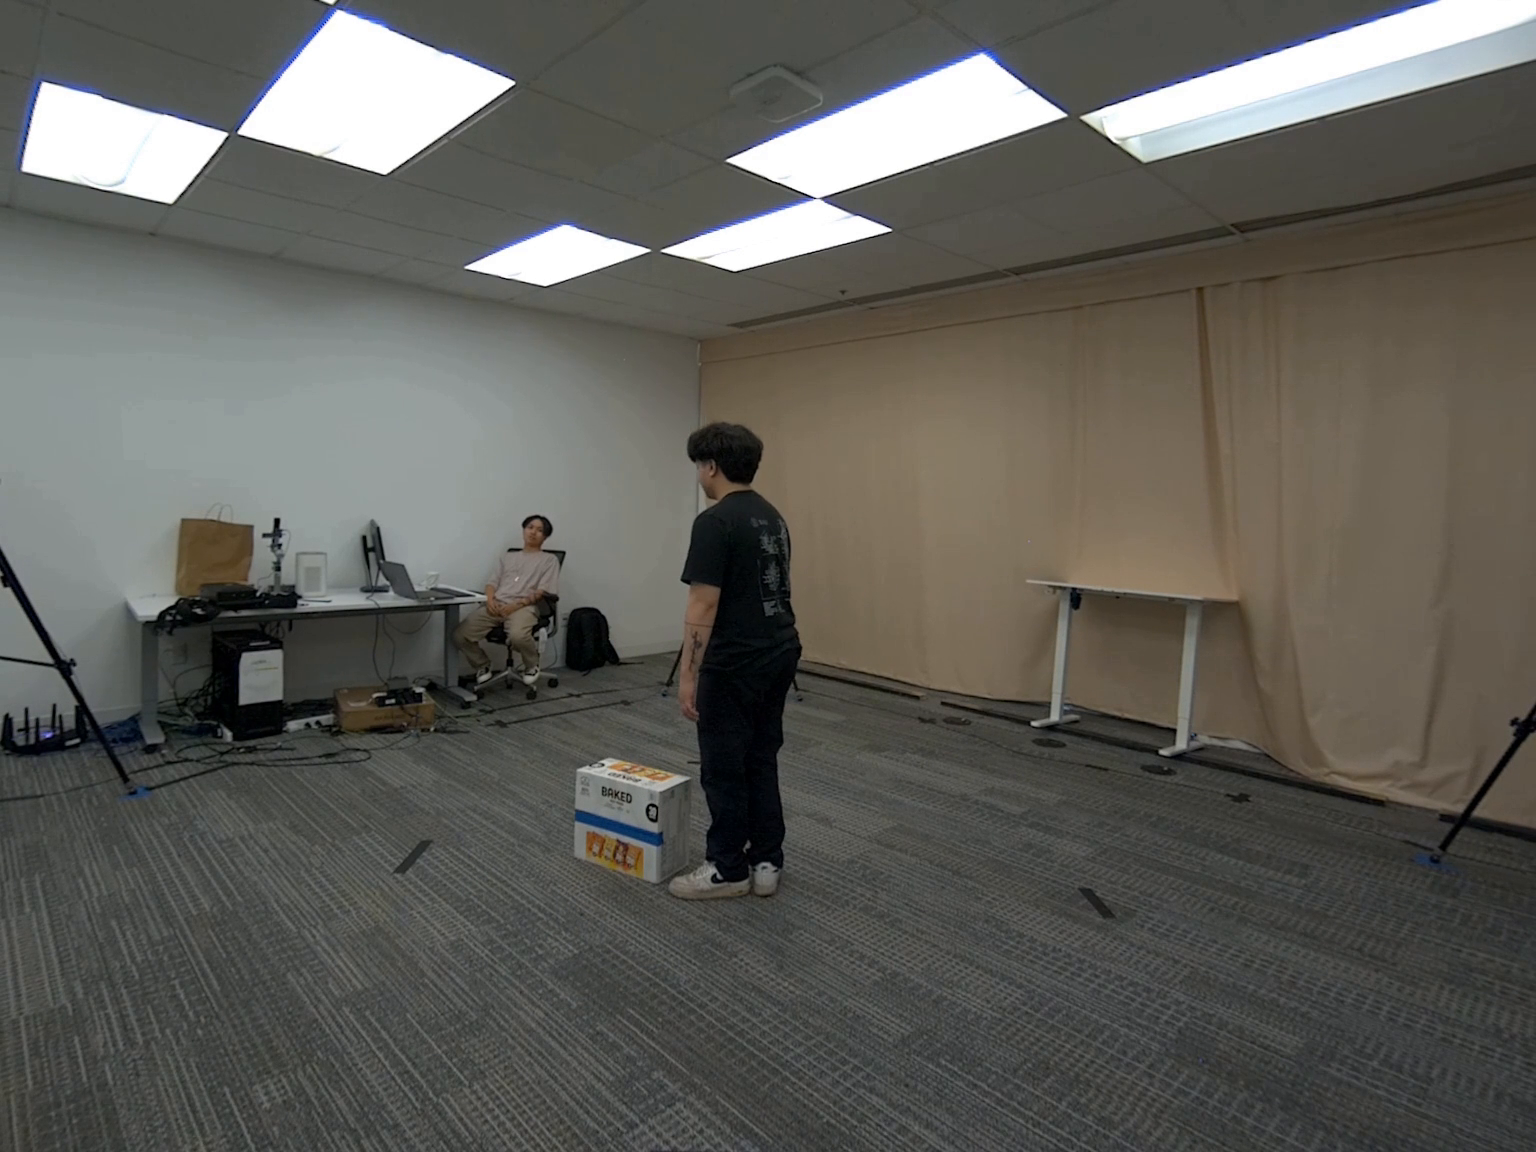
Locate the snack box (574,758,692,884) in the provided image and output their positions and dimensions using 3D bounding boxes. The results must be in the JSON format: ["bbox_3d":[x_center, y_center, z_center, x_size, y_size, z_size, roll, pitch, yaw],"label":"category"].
[{"bbox_3d":[-0.522,0.919,3.208,0.414,0.339,0.201,5,4,31],"label":"snack box"}]
